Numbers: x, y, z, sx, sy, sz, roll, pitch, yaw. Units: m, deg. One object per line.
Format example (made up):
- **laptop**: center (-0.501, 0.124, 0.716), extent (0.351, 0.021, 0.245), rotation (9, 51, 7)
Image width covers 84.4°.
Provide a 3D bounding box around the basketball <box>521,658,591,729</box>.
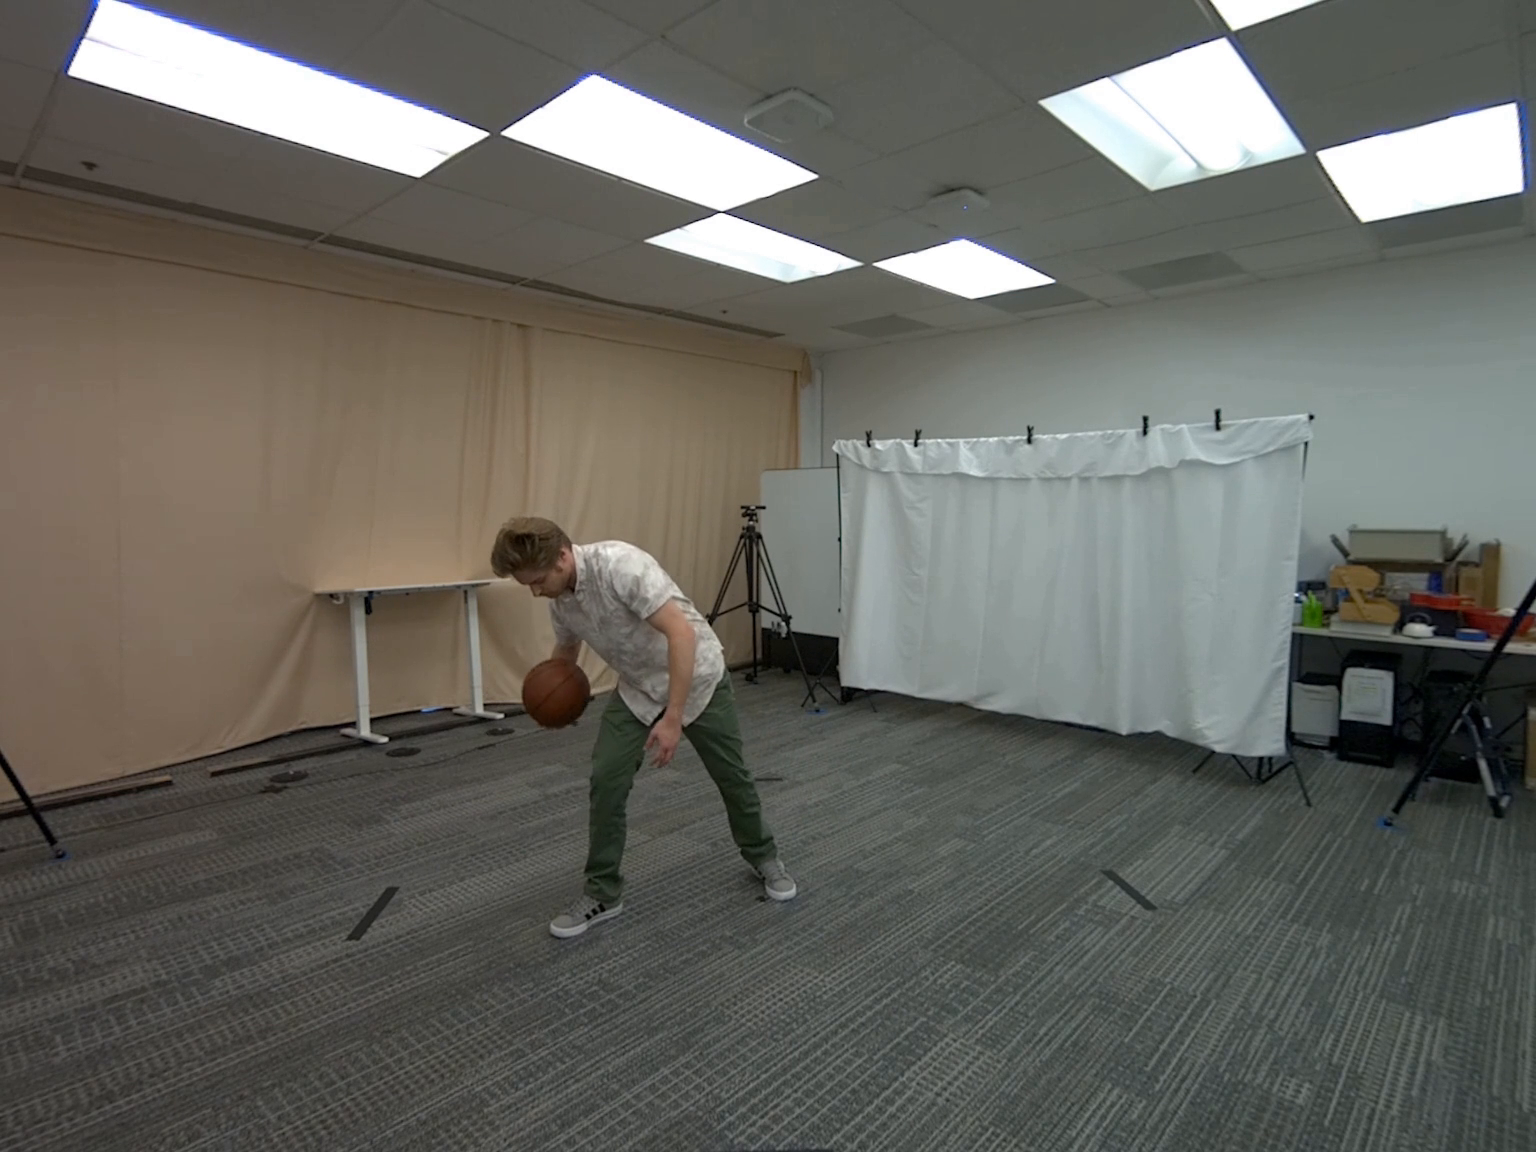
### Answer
- **basketball**: center (-0.740, 0.411, 2.966), extent (0.236, 0.235, 0.237), rotation (0, 4, -2)
